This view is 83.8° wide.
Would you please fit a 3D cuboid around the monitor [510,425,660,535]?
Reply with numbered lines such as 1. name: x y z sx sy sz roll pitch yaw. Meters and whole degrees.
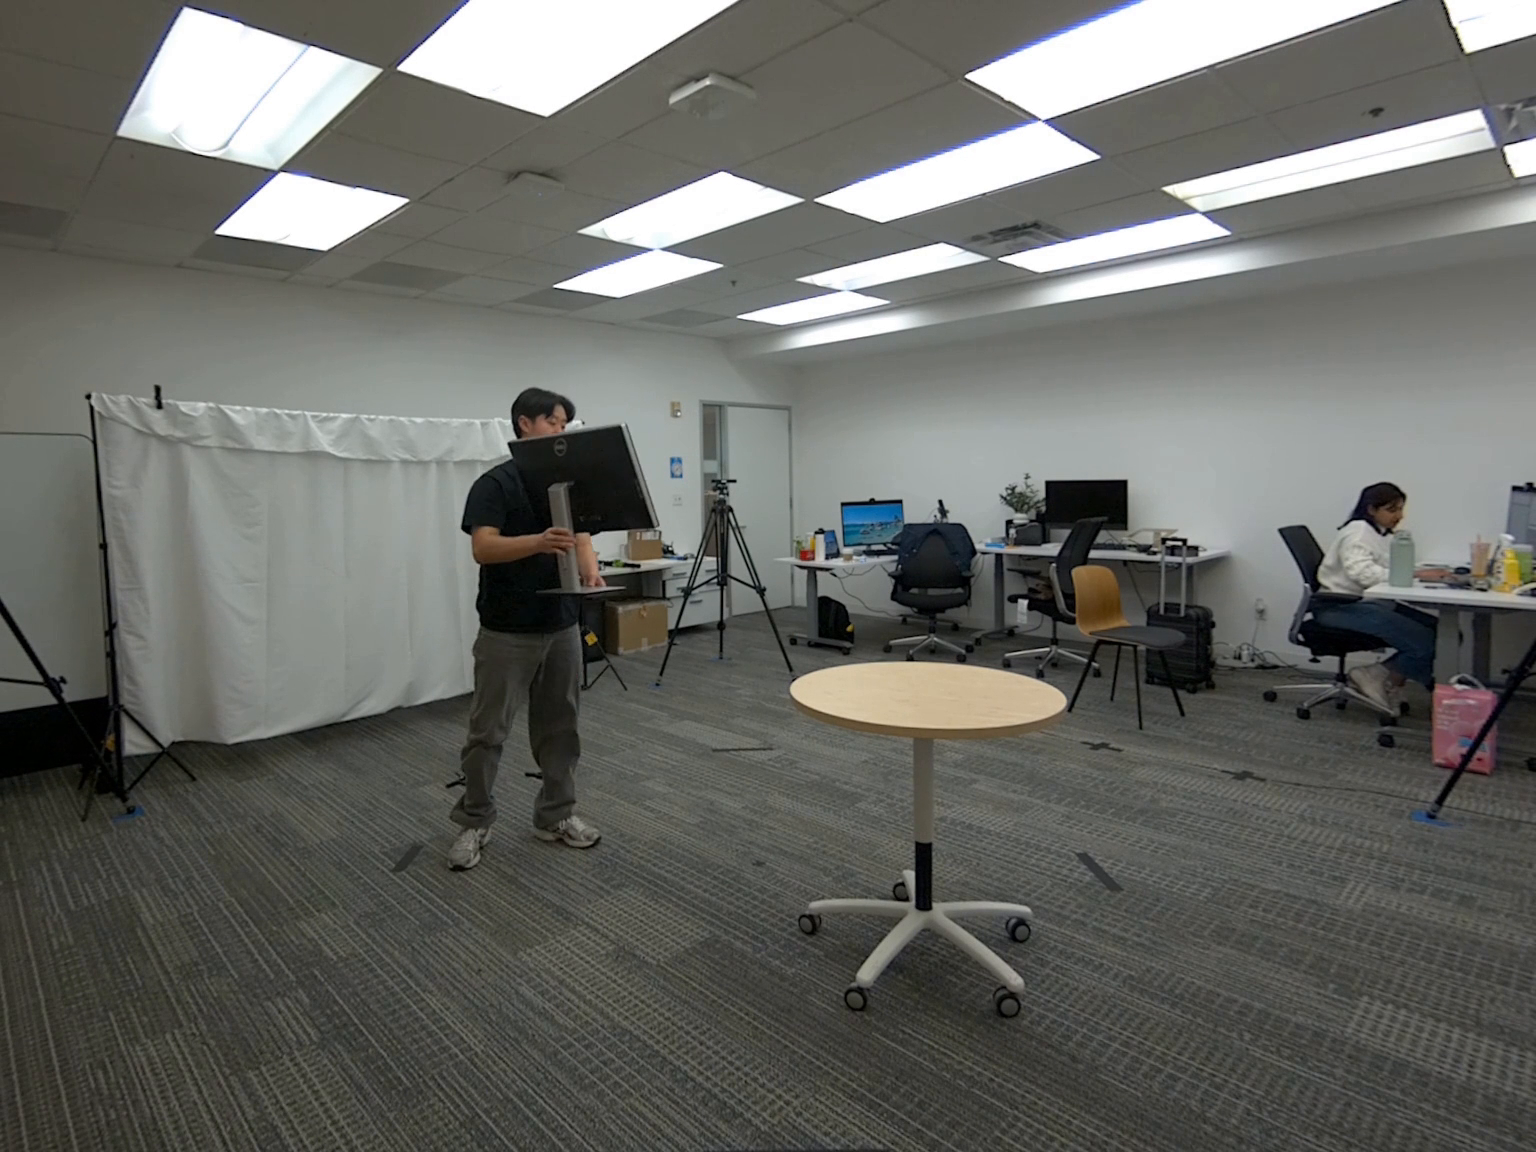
1. monitor: -0.651 -0.193 2.907 0.577 0.563 0.217 0 6 37
